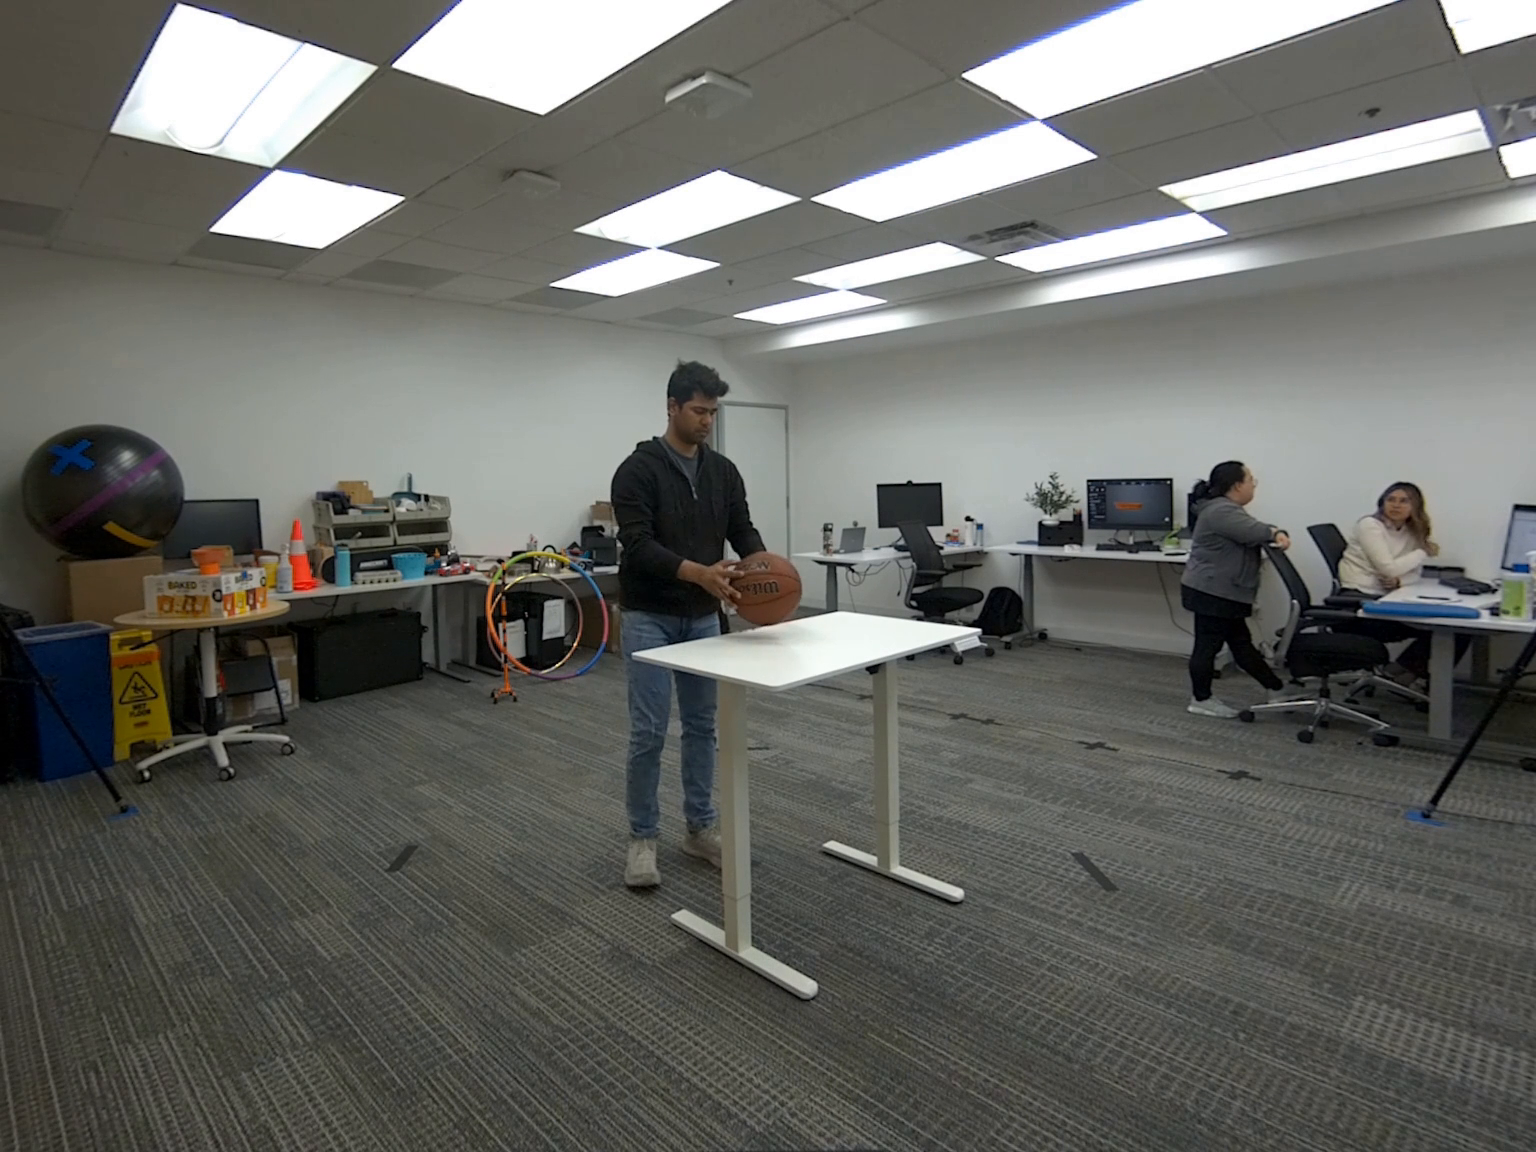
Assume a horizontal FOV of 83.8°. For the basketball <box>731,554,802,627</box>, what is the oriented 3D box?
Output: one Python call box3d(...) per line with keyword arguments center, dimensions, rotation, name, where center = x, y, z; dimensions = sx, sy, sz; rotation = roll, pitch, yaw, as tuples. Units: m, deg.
box3d(center=(-0.020, 0.039, 2.765), dimensions=(0.236, 0.235, 0.237), rotation=(-1, 5, -2), name="basketball")
